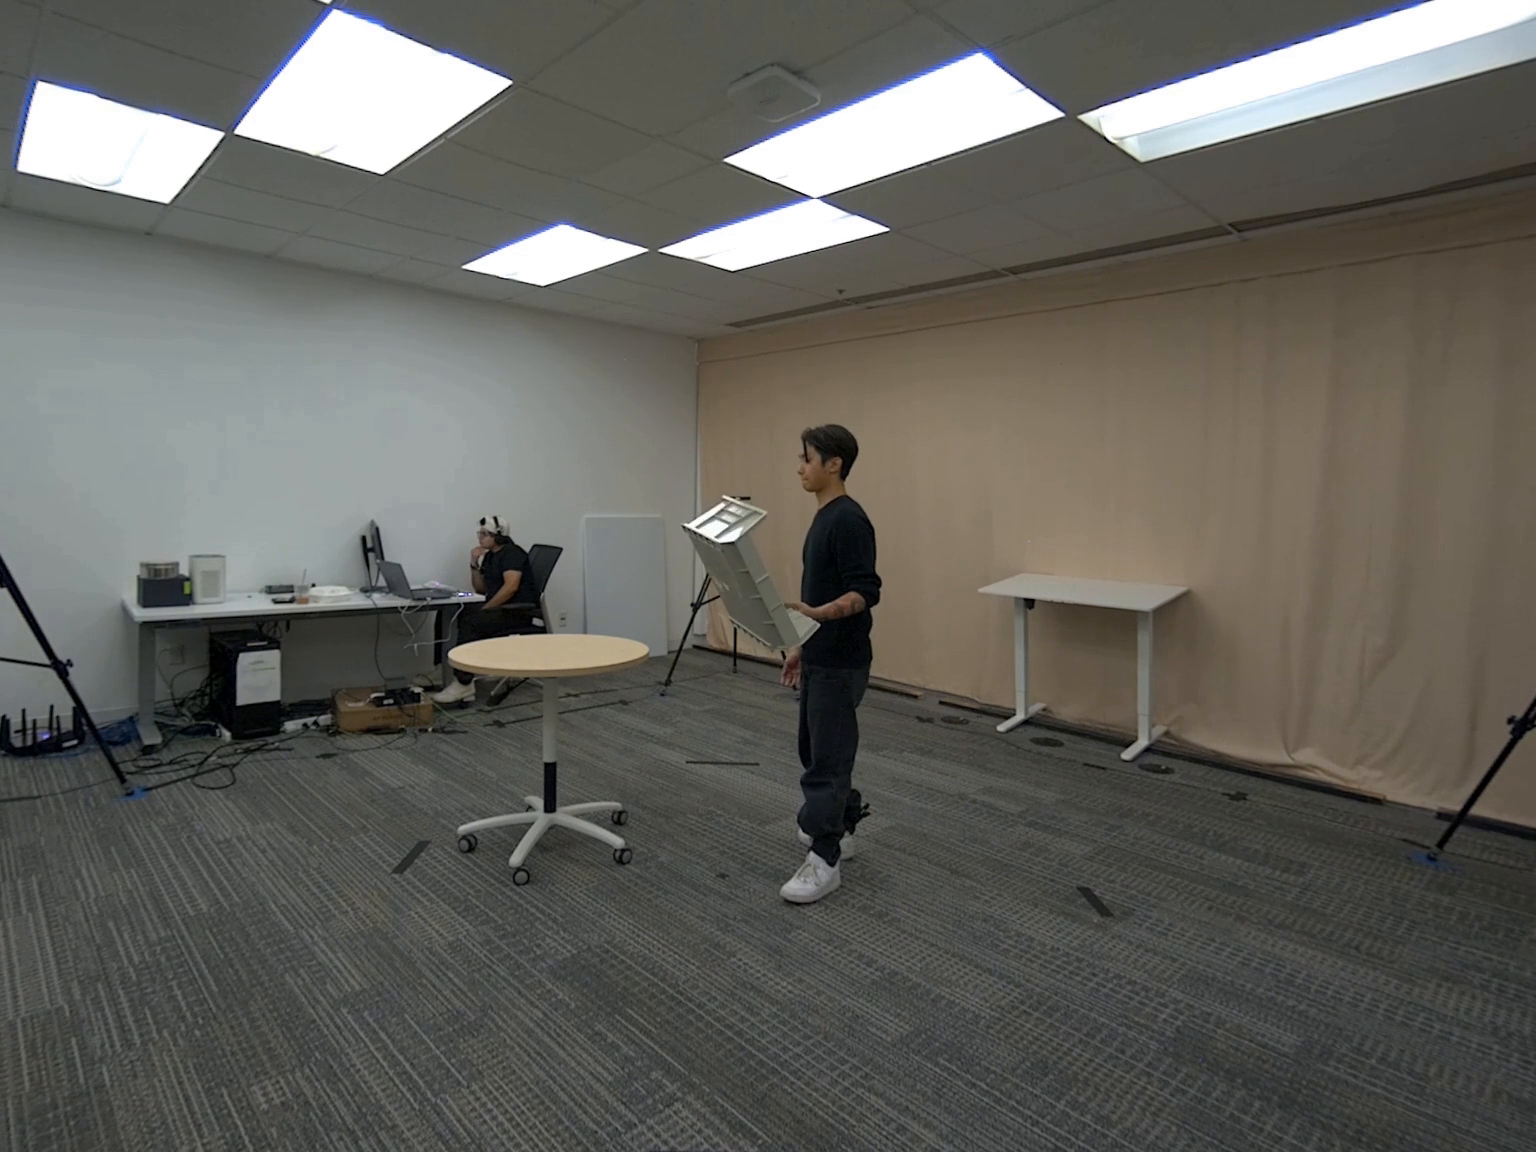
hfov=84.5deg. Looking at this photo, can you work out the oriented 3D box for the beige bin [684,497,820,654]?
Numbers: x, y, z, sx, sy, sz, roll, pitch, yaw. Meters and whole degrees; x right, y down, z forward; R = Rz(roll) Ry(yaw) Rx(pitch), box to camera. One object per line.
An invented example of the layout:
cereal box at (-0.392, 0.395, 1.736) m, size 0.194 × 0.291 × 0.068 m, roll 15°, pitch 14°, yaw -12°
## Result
beige bin at (-0.062, -0.003, 2.676) m, size 0.188 × 0.414 × 0.387 m, roll -33°, pitch 23°, yaw -15°
